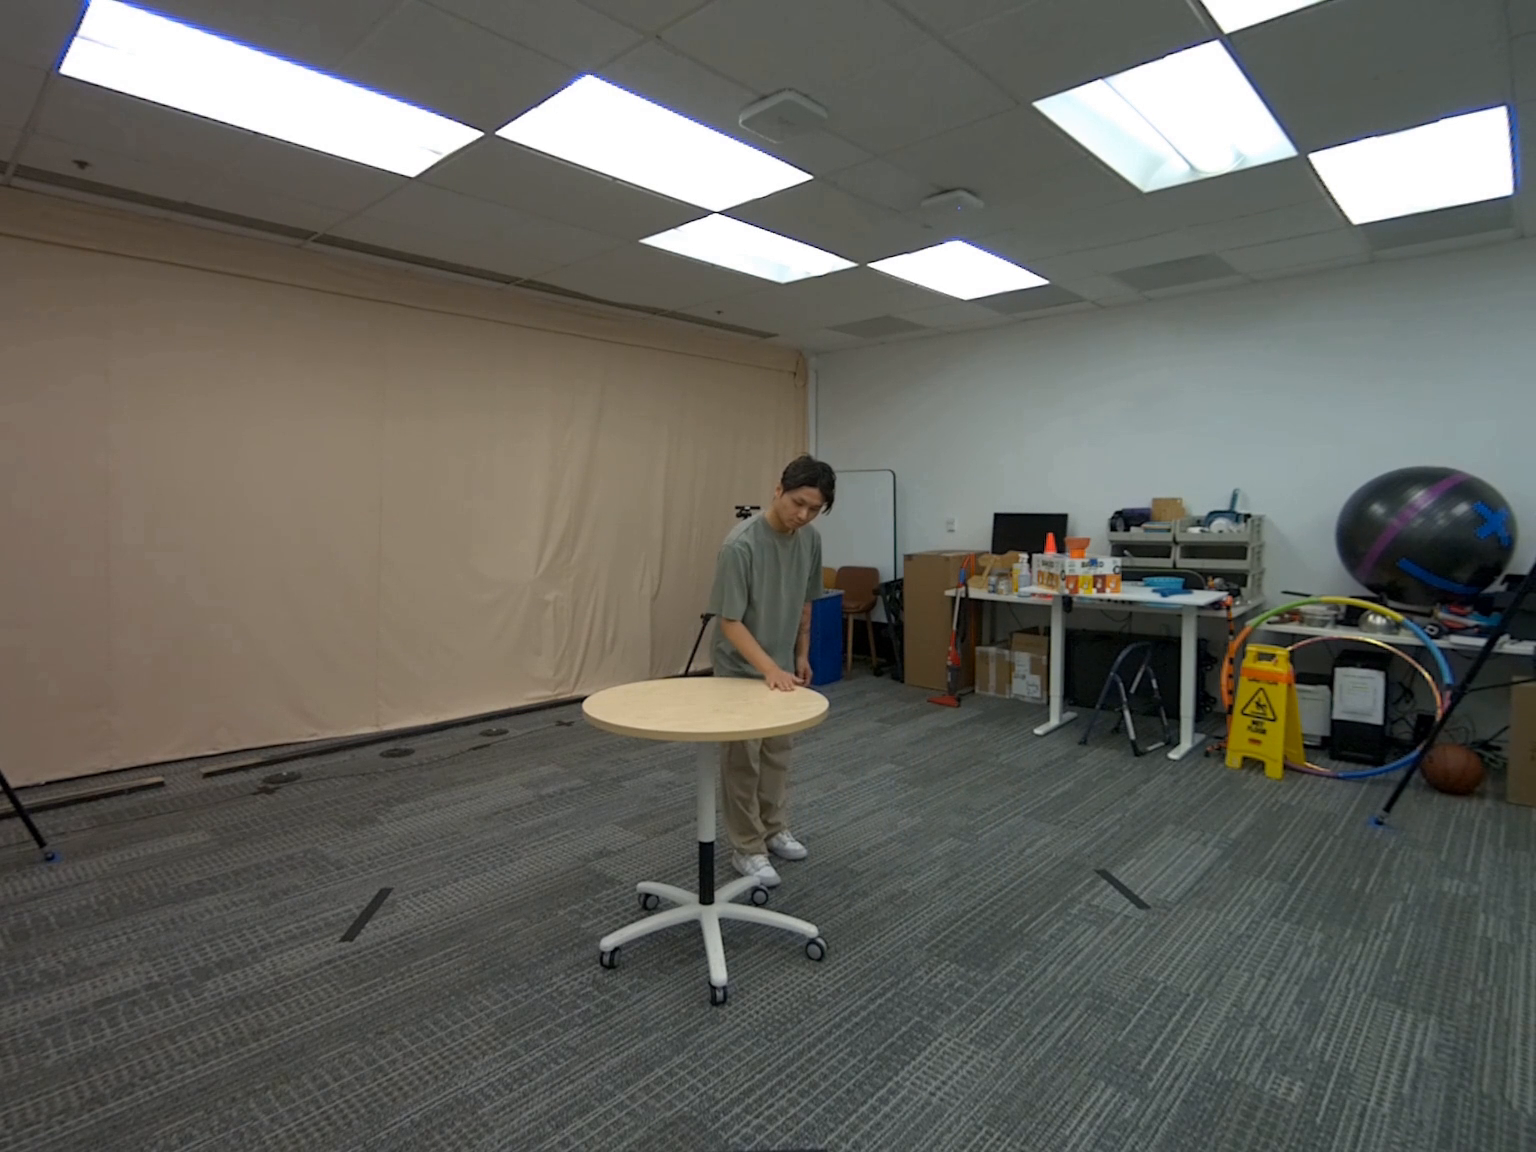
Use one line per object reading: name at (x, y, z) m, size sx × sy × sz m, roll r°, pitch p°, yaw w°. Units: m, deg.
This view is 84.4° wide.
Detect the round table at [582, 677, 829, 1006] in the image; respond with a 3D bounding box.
round table at (-0.191, 0.784, 2.646) m, size 0.763 × 0.792 × 0.766 m, roll 0°, pitch 3°, yaw -2°
